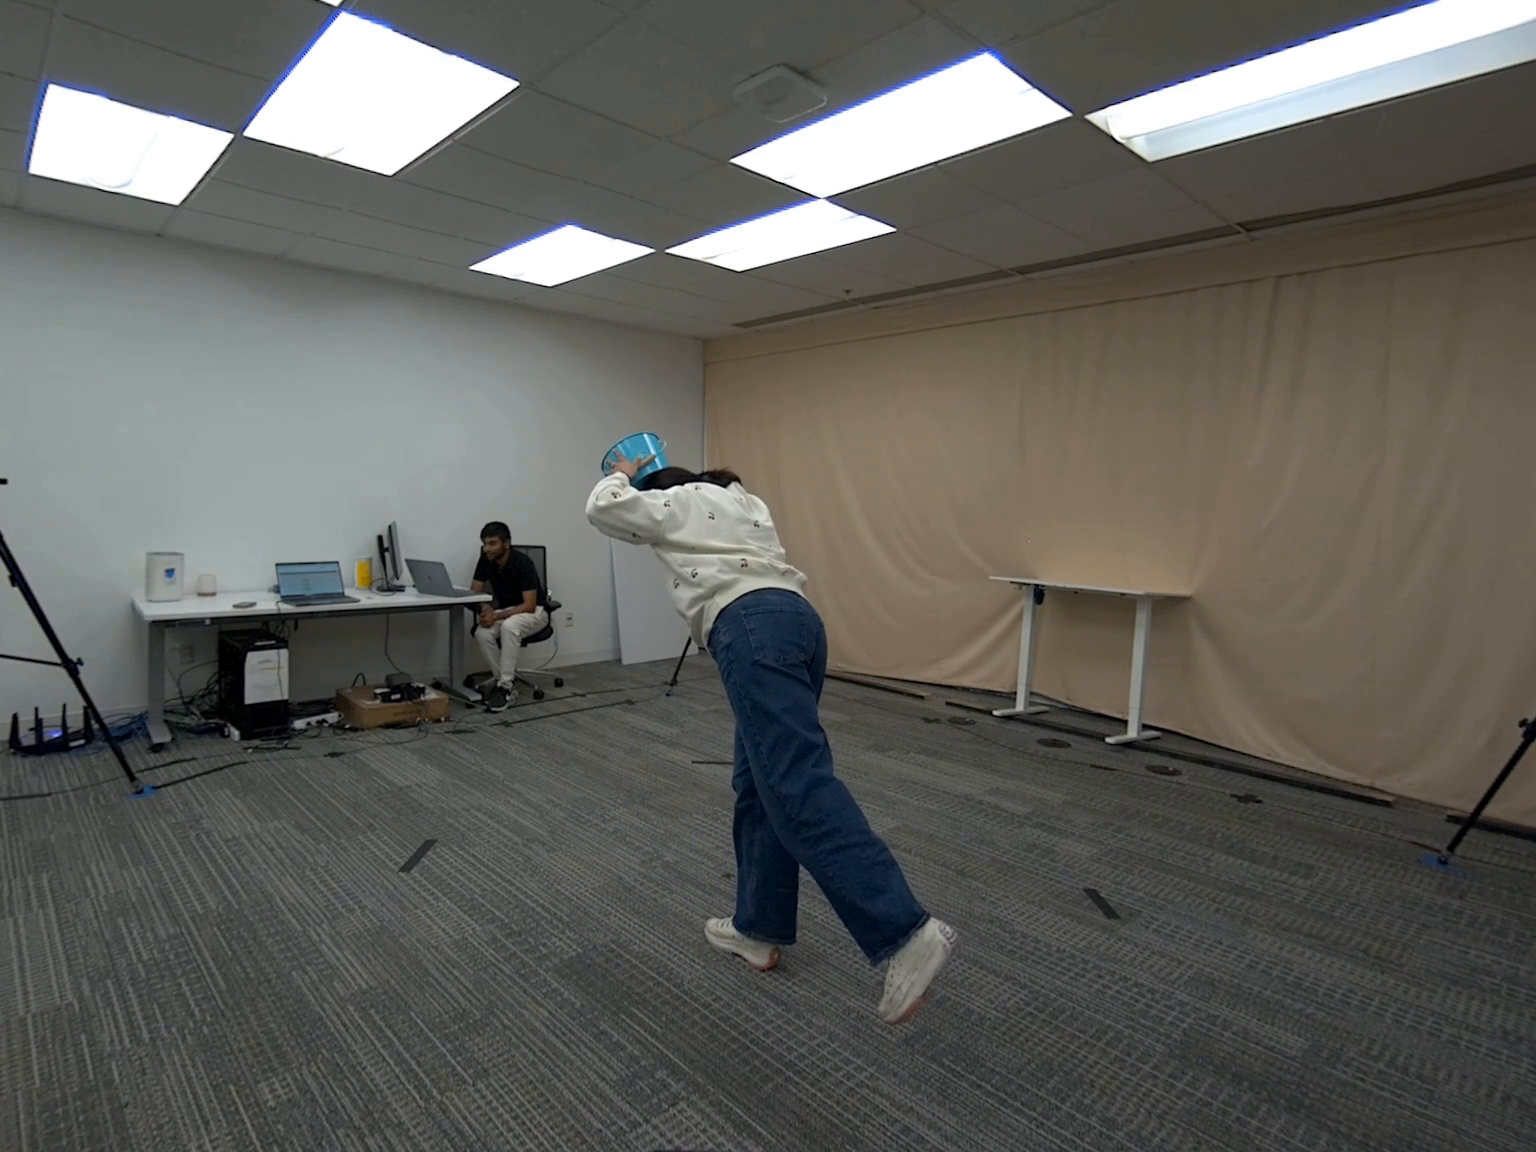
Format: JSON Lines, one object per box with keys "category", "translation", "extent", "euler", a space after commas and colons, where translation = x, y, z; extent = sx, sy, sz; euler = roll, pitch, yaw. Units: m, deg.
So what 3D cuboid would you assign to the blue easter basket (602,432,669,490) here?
{"category": "blue easter basket", "translation": [-0.454, -0.364, 2.906], "extent": [0.242, 0.159, 0.239], "euler": [-26, -24, -14]}
